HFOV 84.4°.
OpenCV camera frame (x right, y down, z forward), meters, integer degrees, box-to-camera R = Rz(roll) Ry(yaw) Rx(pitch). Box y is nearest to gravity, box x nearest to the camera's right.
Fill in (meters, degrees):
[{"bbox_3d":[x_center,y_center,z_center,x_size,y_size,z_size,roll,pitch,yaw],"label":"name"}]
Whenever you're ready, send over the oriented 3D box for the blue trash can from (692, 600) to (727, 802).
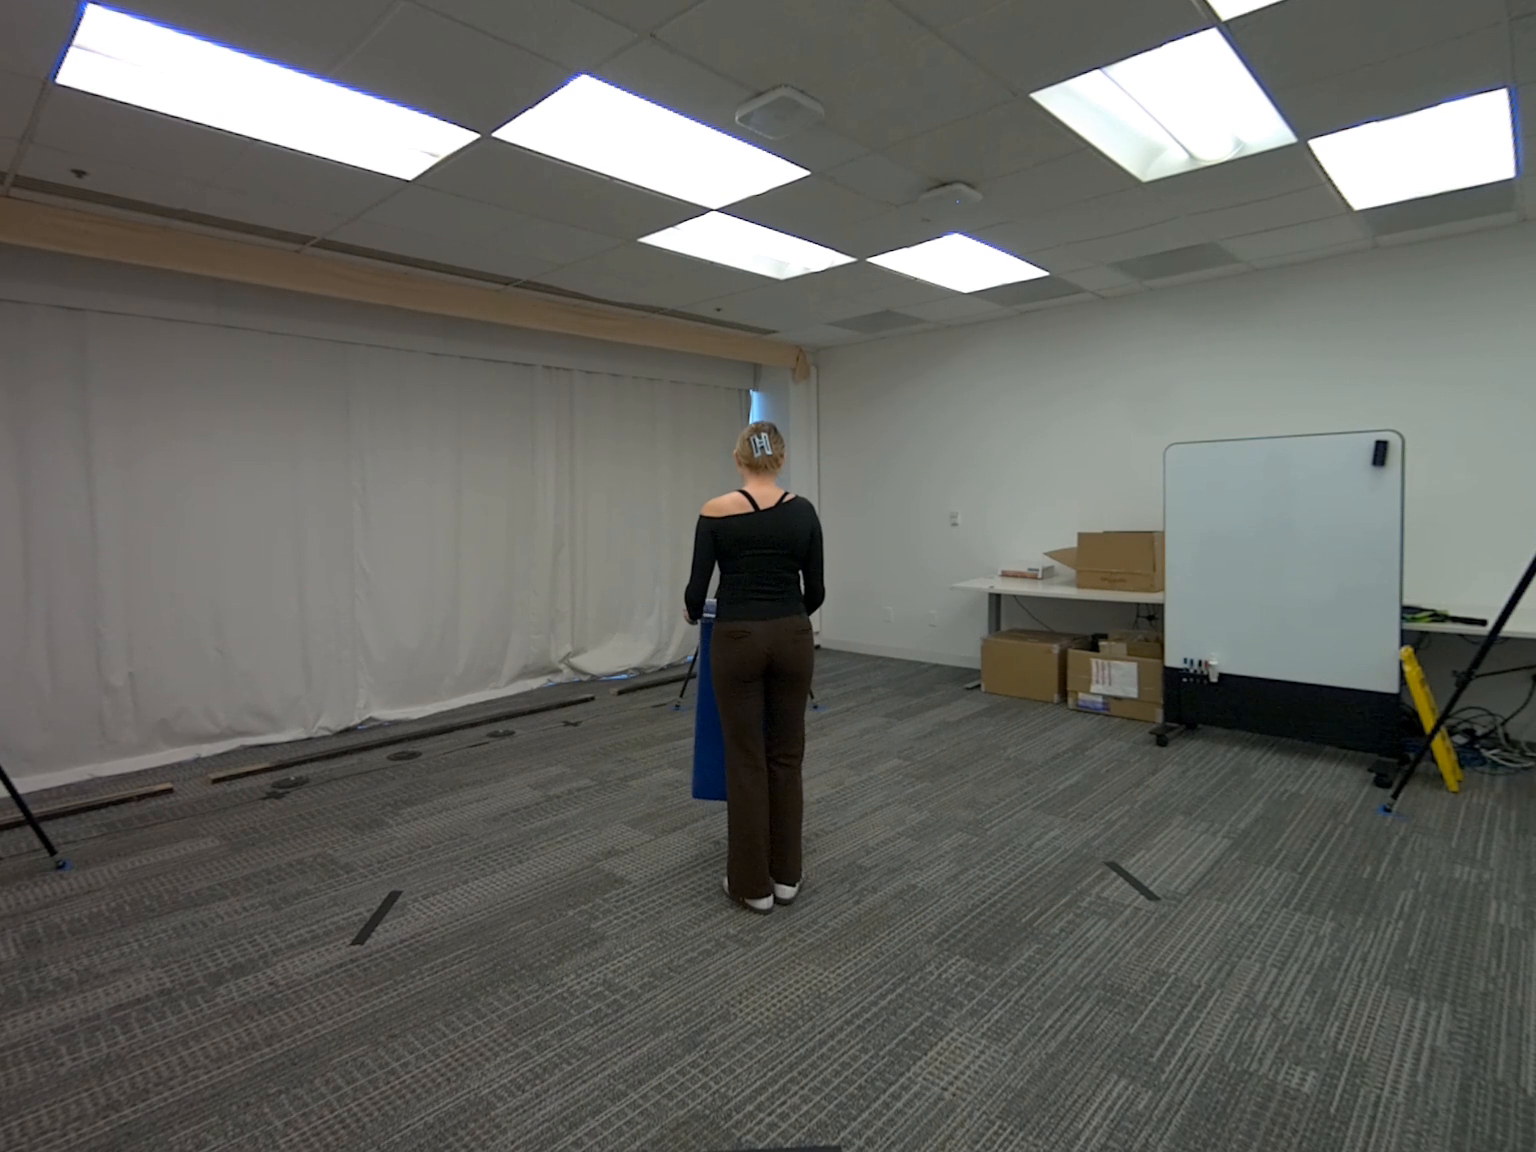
[{"bbox_3d":[-0.117,0.486,3.290,0.373,0.711,0.380,6,5,-2],"label":"blue trash can"}]
